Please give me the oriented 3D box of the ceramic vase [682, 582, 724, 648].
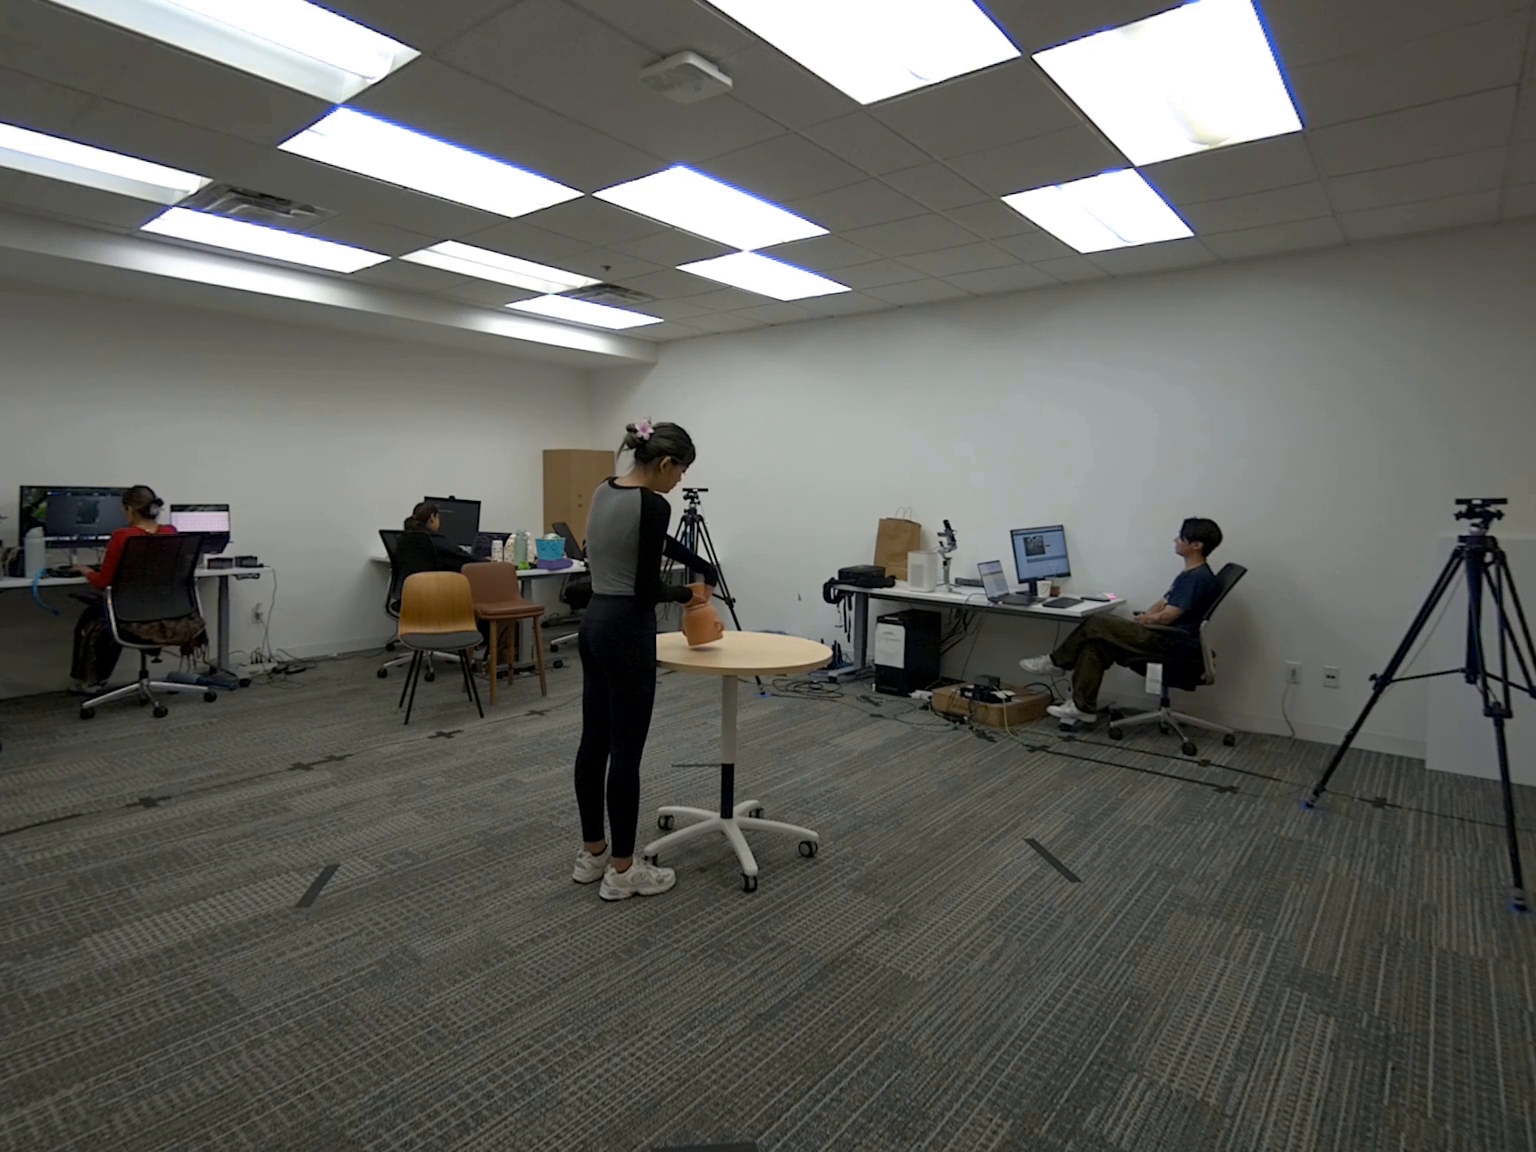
[{"bbox_3d":[-0.269,0.137,3.170,0.158,0.220,0.135,-11,1,-5],"label":"ceramic vase"}]
